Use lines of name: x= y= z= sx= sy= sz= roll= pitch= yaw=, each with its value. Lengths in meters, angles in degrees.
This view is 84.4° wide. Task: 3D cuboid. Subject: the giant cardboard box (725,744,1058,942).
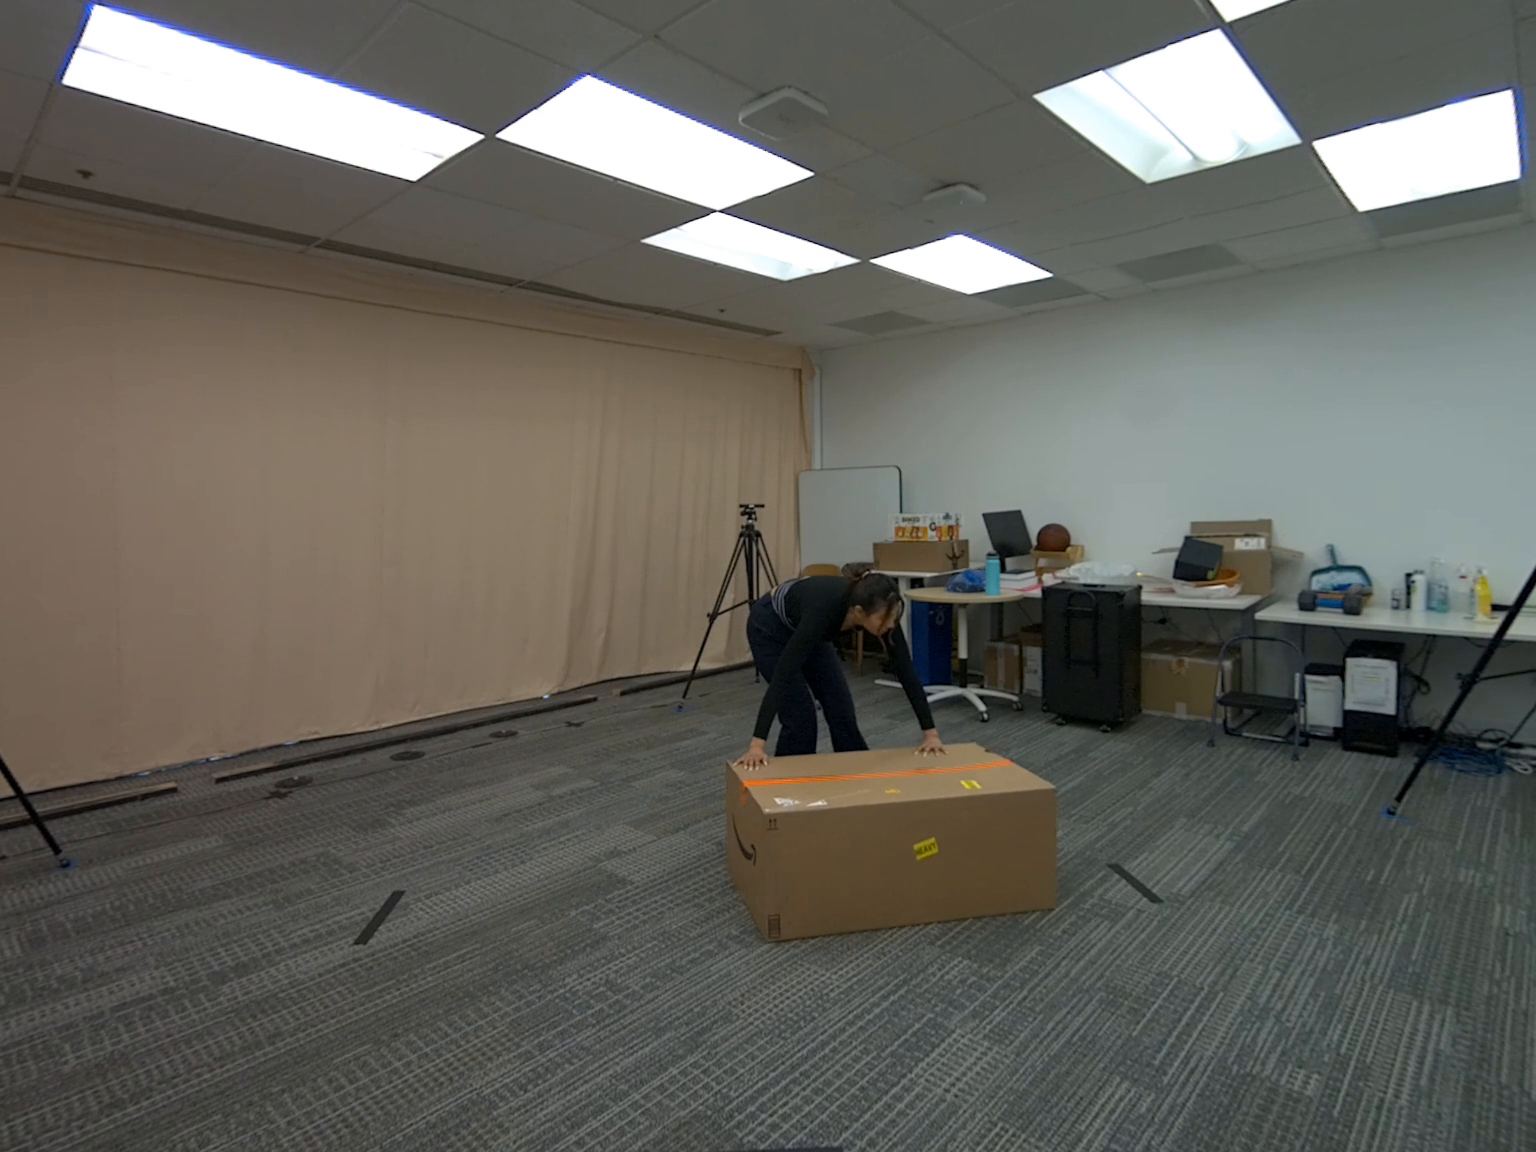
giant cardboard box: x=0.414 y=0.914 z=3.026 sx=1.013 sy=0.425 sz=0.586 roll=-2 pitch=3 yaw=-12
